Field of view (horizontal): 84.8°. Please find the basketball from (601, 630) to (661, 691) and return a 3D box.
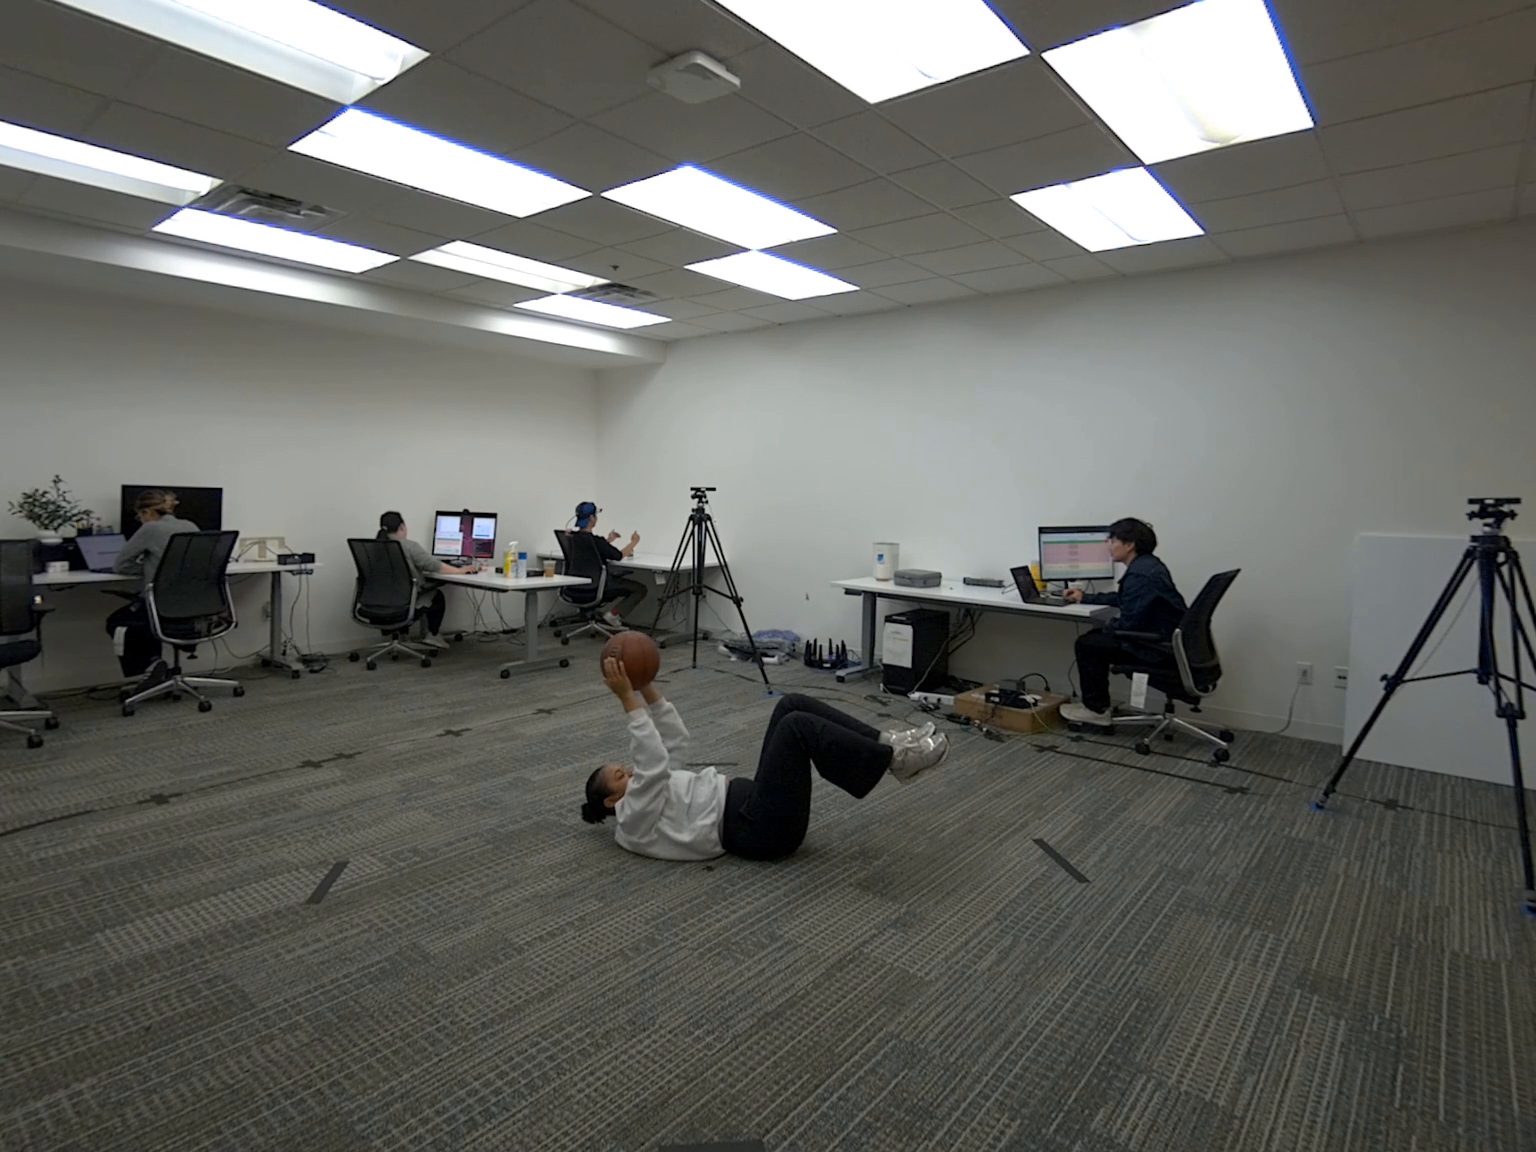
[{"bbox_3d":[-0.553,0.343,3.390,0.236,0.235,0.237,0,4,-2],"label":"basketball"}]
